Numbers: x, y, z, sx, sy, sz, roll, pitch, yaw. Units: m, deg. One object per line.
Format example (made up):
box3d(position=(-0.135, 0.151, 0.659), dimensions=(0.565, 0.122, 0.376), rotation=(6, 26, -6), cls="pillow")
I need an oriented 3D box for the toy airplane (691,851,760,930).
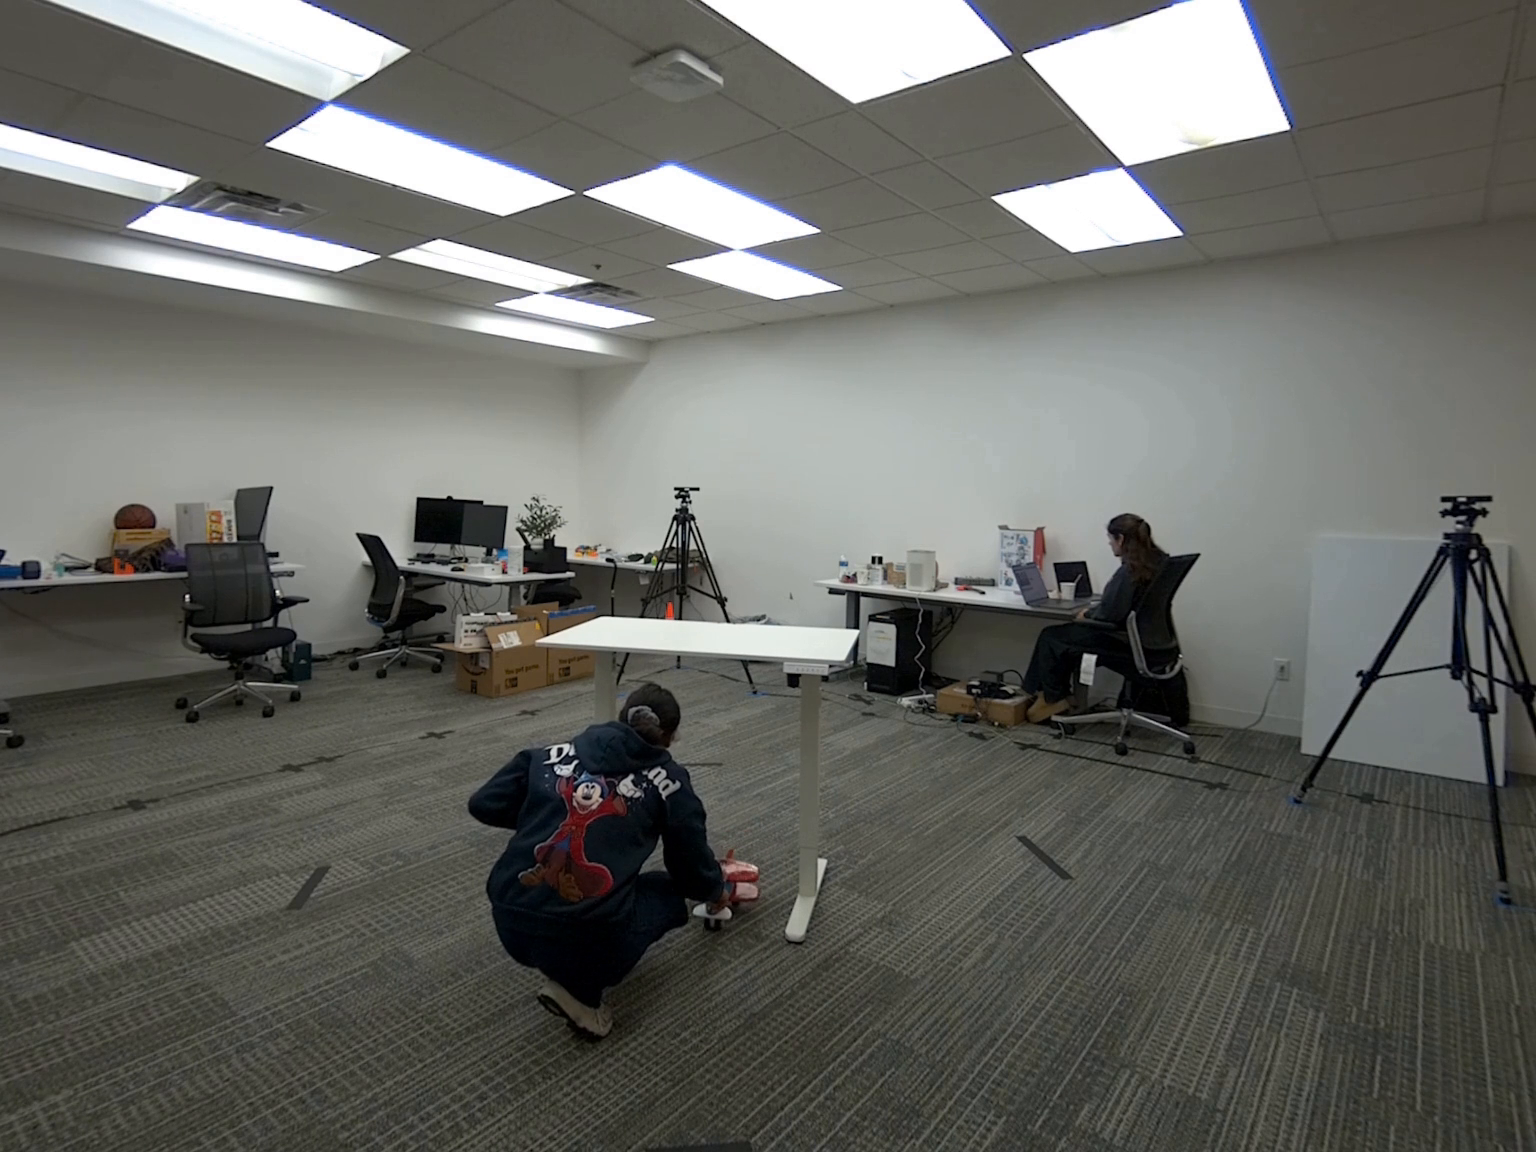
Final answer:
box3d(position=(-0.138, 1.027, 2.767), dimensions=(0.246, 0.156, 0.264), rotation=(-1, 3, -18), cls="toy airplane")
